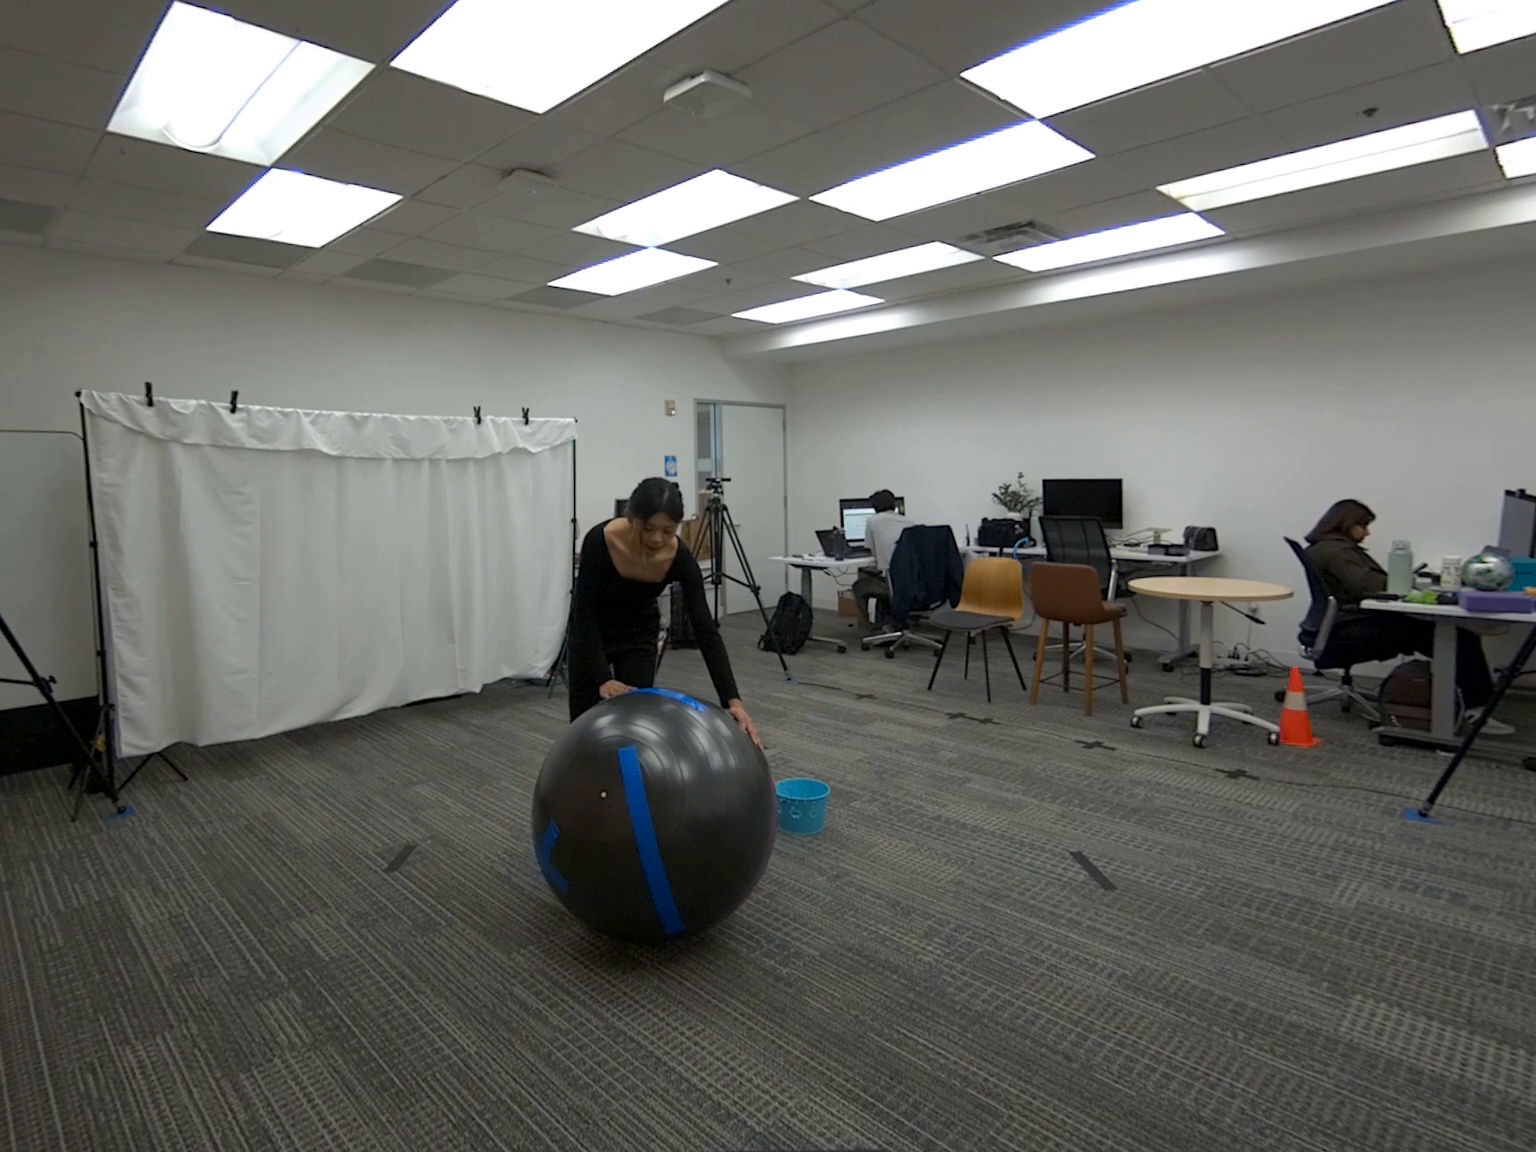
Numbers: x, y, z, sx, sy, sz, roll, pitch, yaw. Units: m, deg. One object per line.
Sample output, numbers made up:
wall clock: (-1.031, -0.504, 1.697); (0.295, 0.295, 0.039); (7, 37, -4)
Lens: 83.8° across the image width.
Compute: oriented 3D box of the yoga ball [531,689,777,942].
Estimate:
yoga ball: (-0.356, 0.730, 2.661); (0.757, 0.755, 0.762); (-1, 5, -2)
